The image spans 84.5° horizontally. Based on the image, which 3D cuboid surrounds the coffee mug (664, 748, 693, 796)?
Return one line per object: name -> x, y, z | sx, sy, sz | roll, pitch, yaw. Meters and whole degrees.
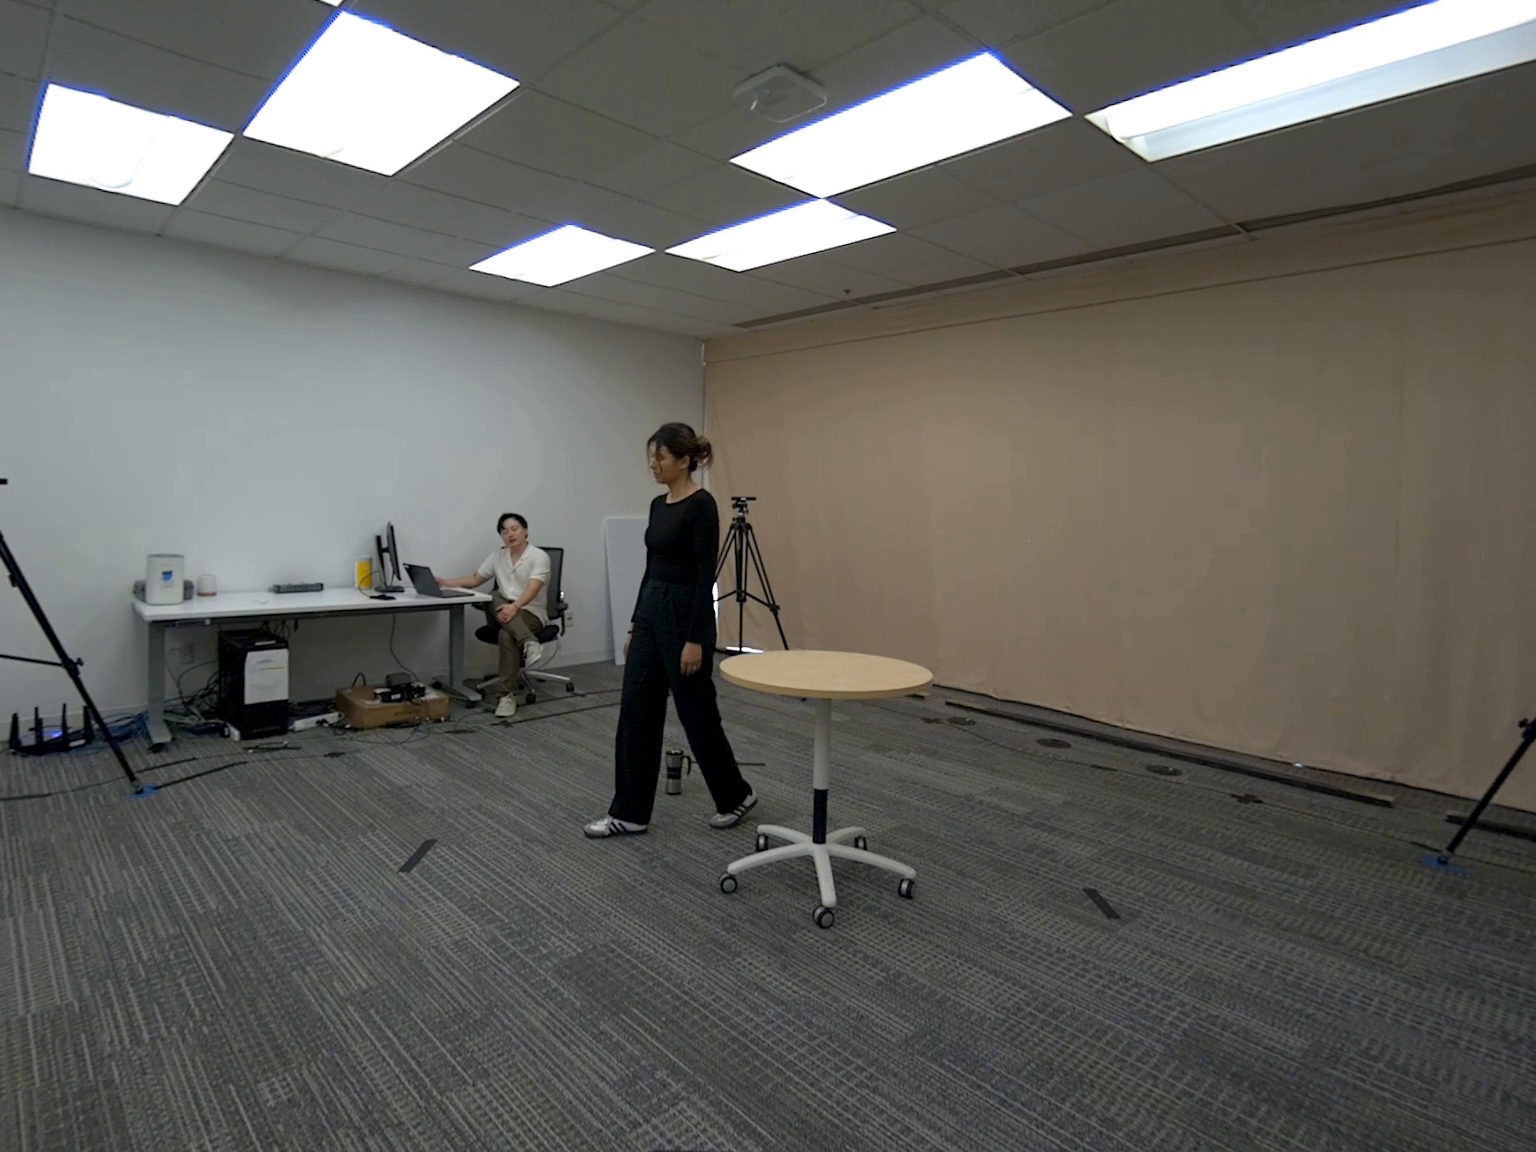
coffee mug -> -0.437, 0.922, 3.961 | 0.086, 0.203, 0.124 | 5, -5, -34
